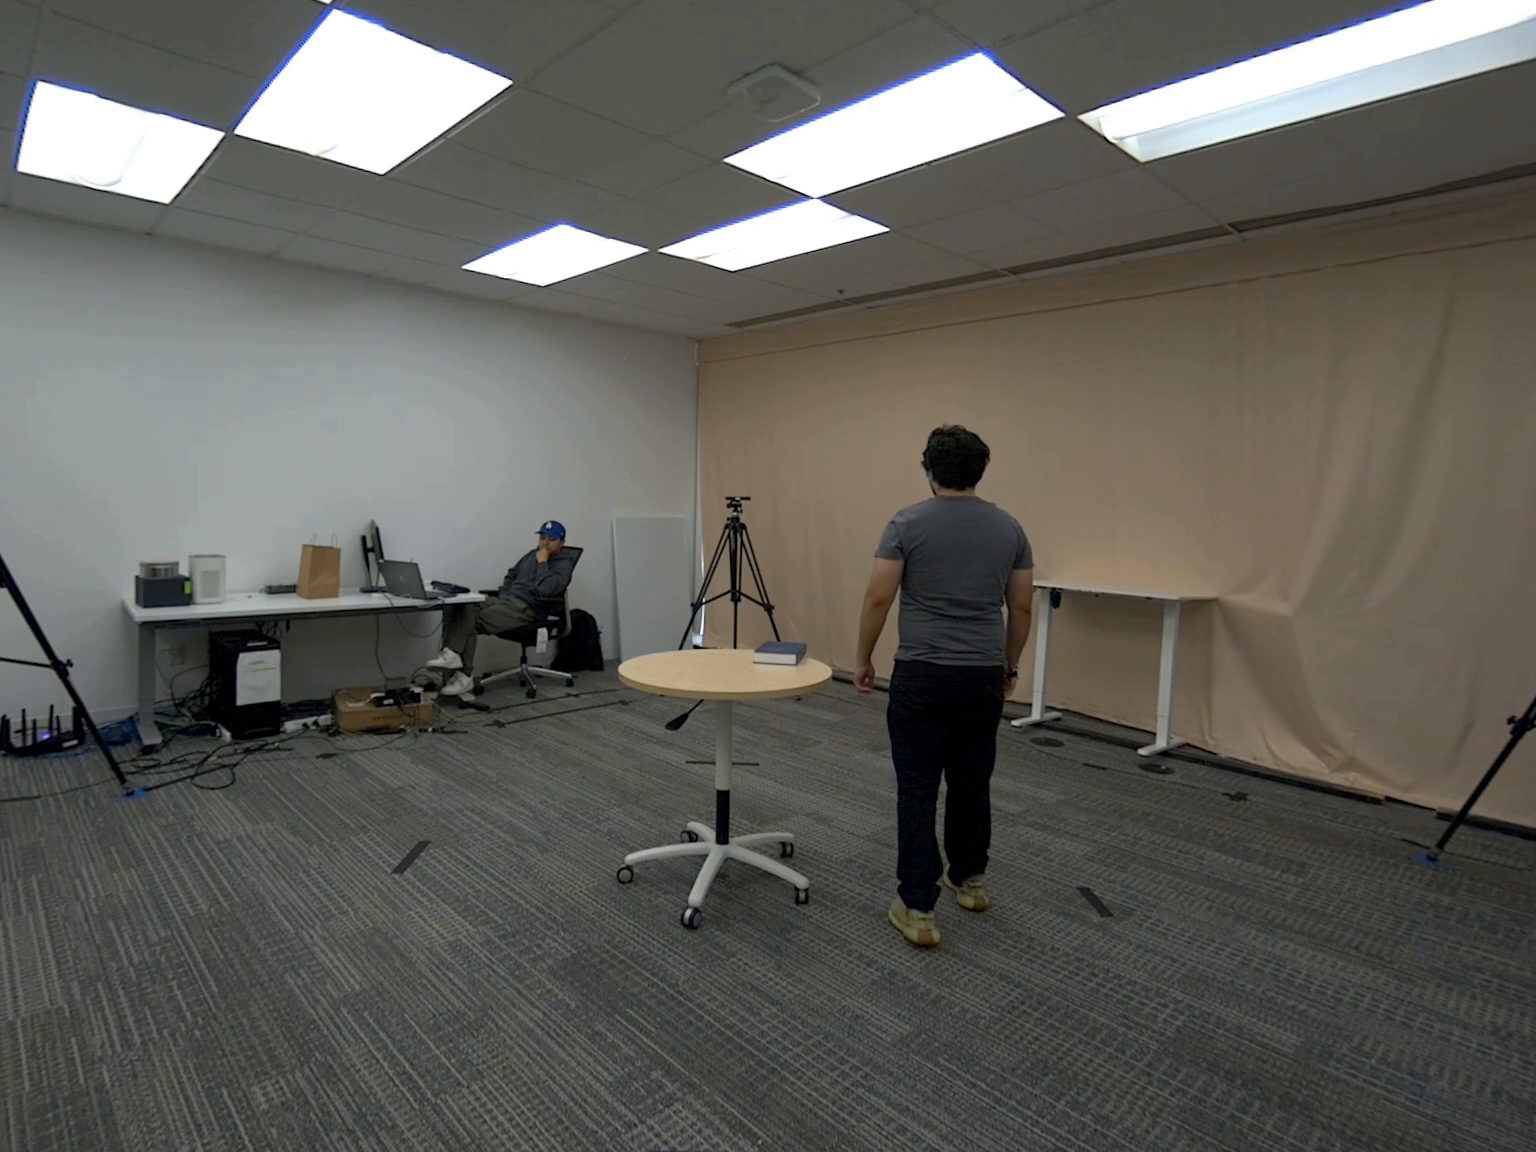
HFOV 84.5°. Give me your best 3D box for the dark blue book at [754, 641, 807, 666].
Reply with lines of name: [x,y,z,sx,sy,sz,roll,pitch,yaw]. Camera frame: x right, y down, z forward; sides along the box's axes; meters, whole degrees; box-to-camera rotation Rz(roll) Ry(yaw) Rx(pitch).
dark blue book: [0.043,0.295,3.215,0.165,0.045,0.243,2,5,12]
